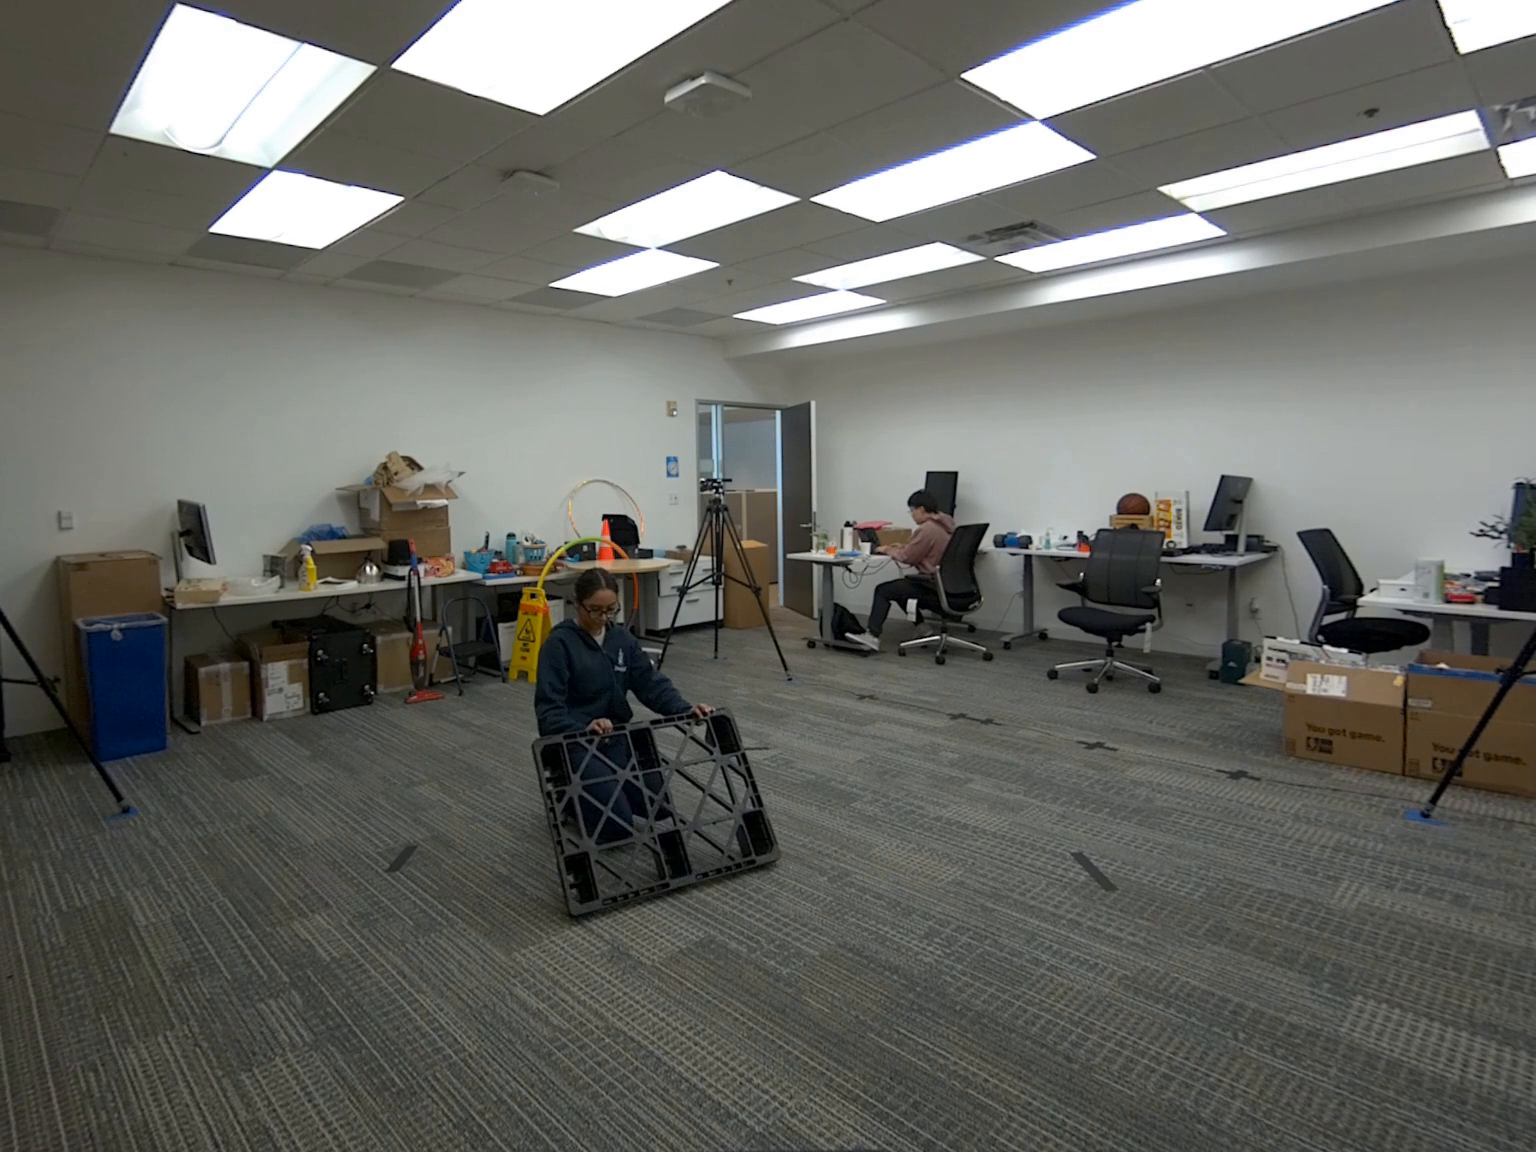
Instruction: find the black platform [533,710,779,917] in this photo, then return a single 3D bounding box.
[{"bbox_3d":[-0.406,0.827,3.072,0.787,0.623,0.142,-4,-31,-29],"label":"black platform"}]
